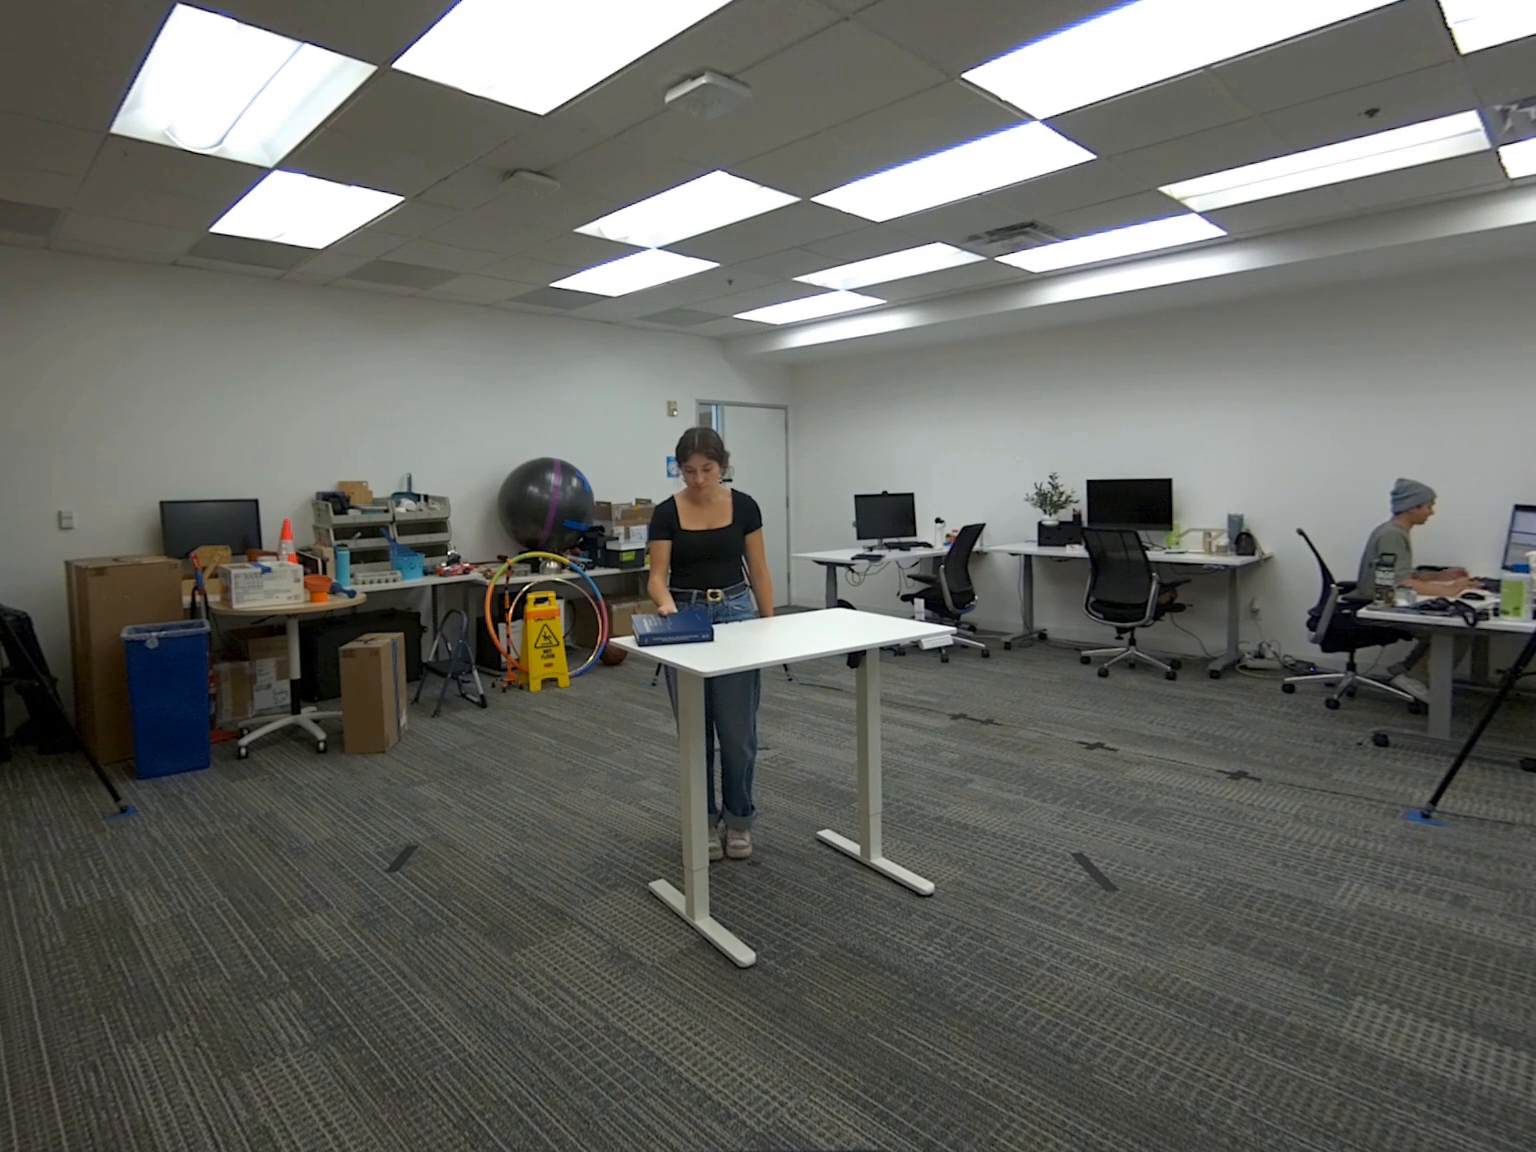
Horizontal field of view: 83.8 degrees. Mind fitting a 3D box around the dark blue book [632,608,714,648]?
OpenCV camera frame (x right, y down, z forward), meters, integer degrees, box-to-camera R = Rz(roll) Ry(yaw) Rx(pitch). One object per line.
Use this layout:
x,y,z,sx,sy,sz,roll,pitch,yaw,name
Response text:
-0.312,0.174,2.757,0.243,0.044,0.167,-2,19,-11,dark blue book
